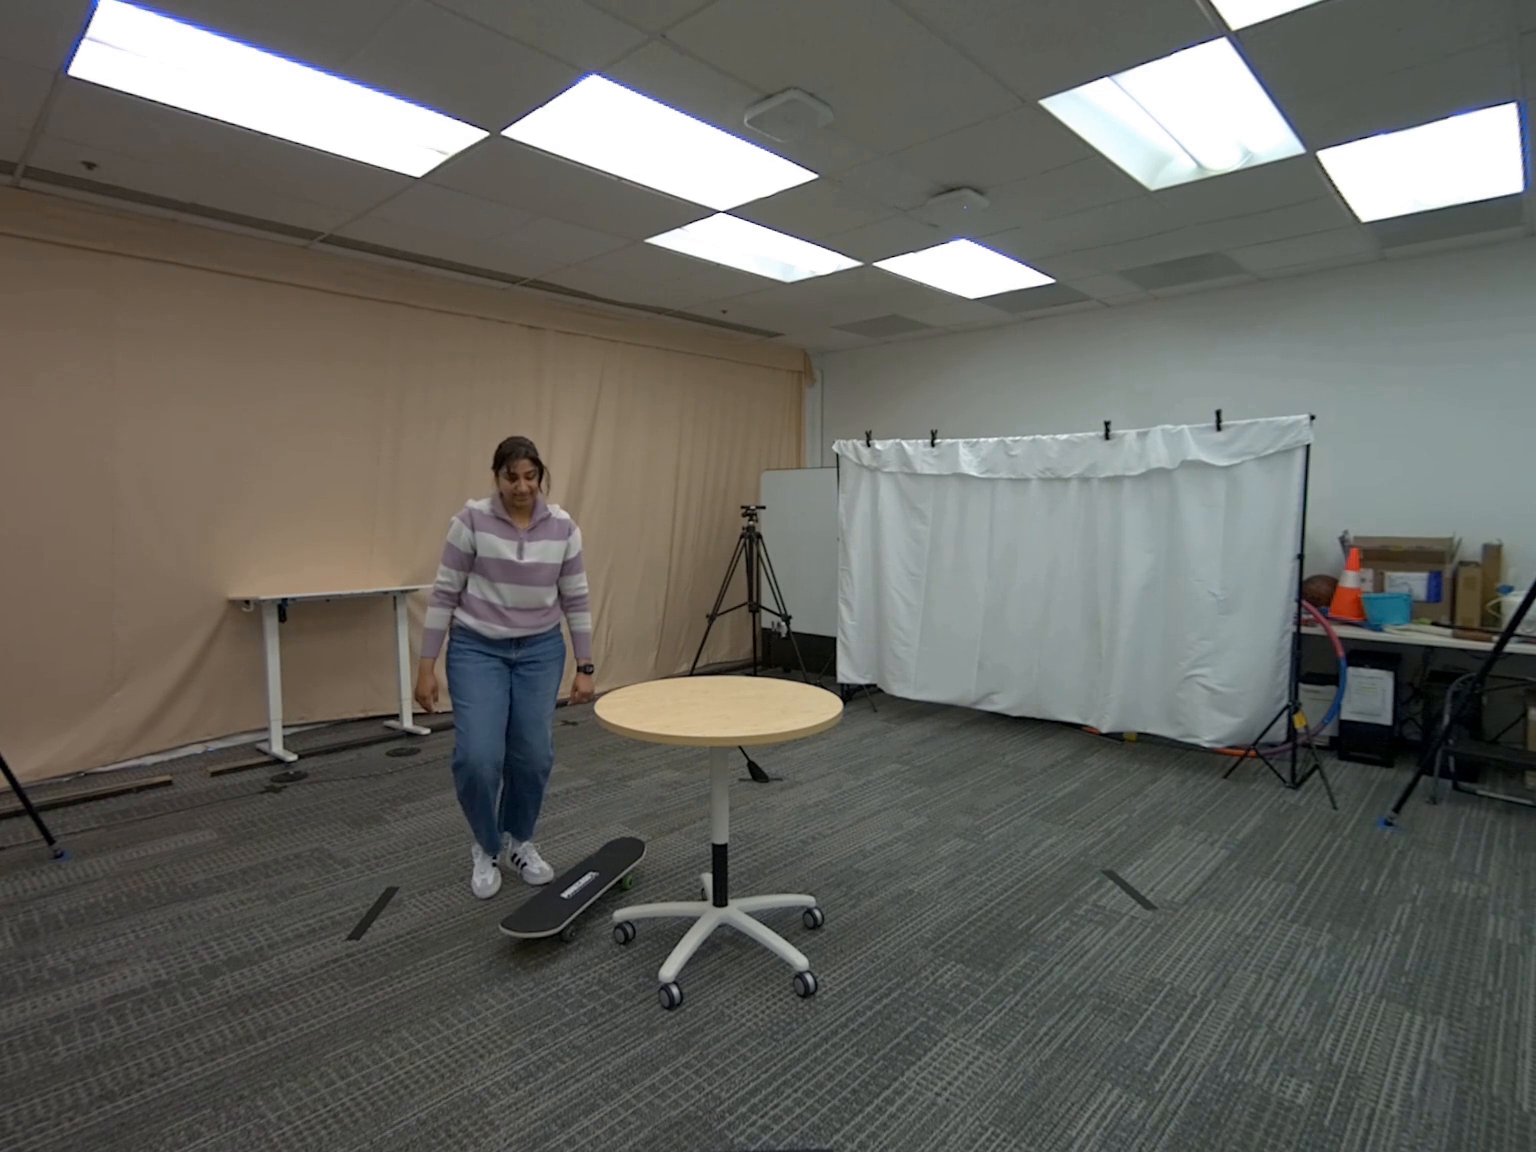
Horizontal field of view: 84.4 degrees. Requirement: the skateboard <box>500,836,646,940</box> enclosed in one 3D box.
[{"bbox_3d":[-0.648,1.098,2.911,0.198,0.110,0.770,2,5,19],"label":"skateboard"}]
